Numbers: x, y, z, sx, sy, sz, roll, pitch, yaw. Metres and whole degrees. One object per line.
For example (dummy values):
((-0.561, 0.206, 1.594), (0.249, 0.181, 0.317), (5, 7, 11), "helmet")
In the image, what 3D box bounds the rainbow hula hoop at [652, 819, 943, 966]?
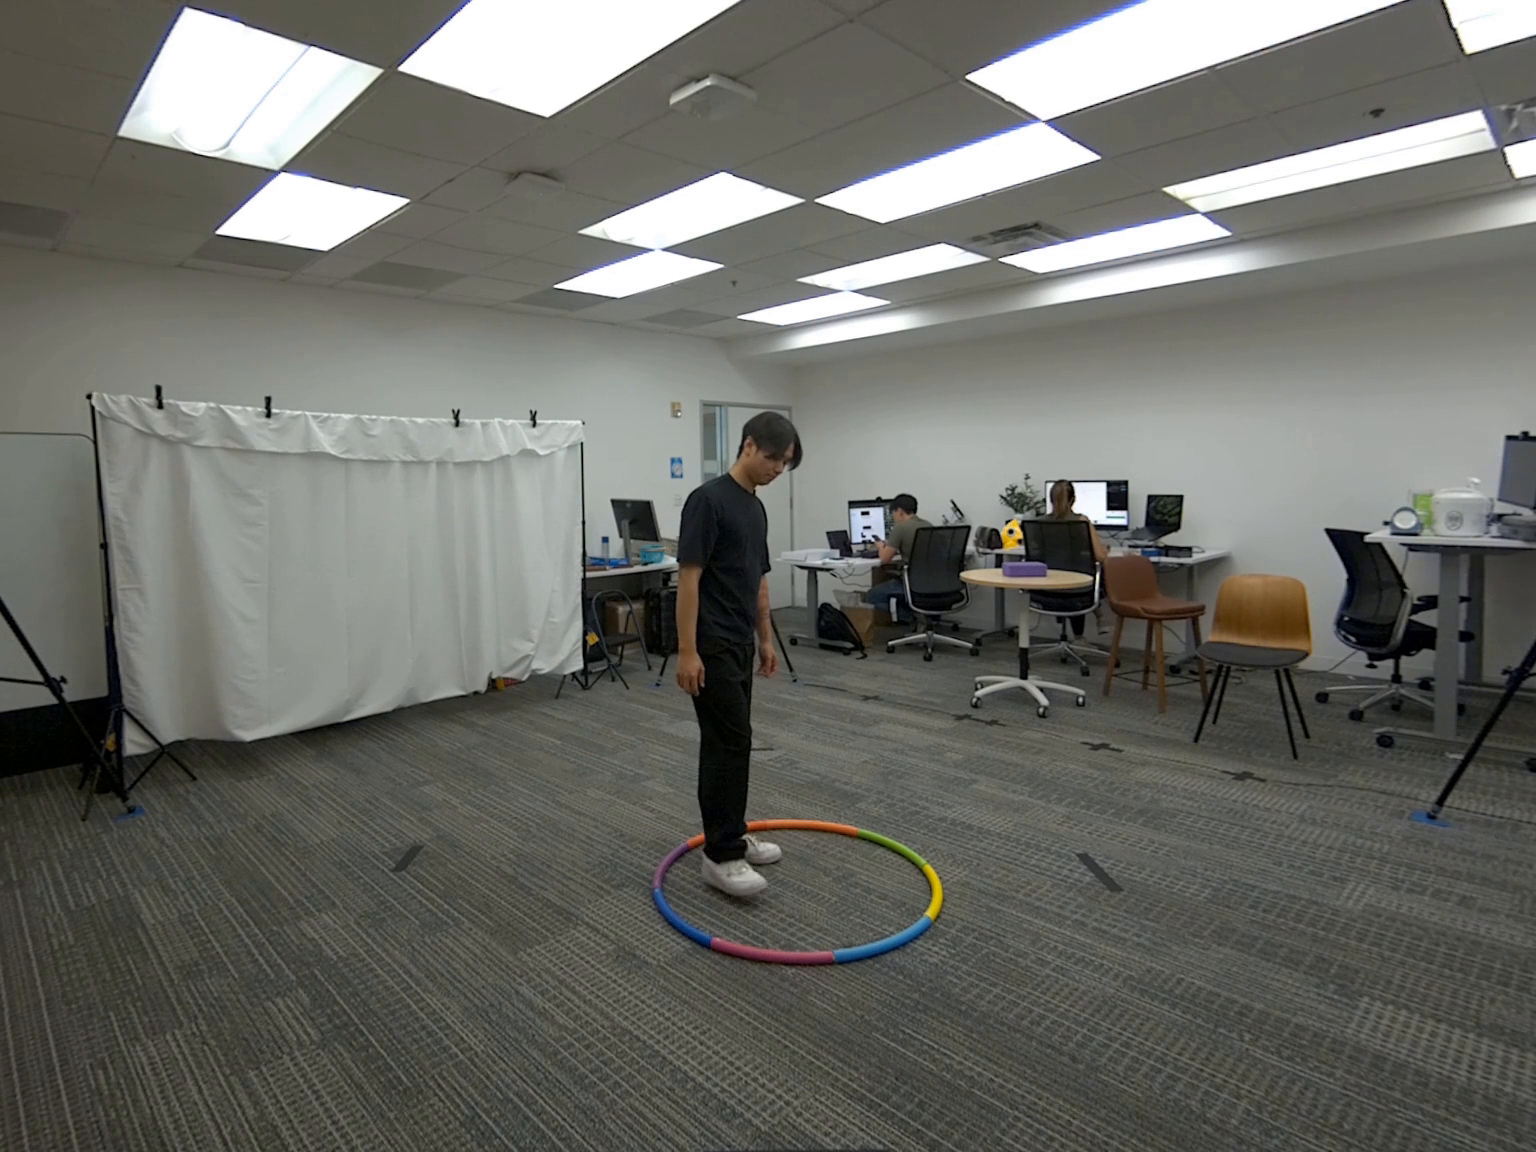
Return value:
((0.092, 1.035, 2.941), (0.978, 0.035, 0.984), (-2, 7, -2), "rainbow hula hoop")
